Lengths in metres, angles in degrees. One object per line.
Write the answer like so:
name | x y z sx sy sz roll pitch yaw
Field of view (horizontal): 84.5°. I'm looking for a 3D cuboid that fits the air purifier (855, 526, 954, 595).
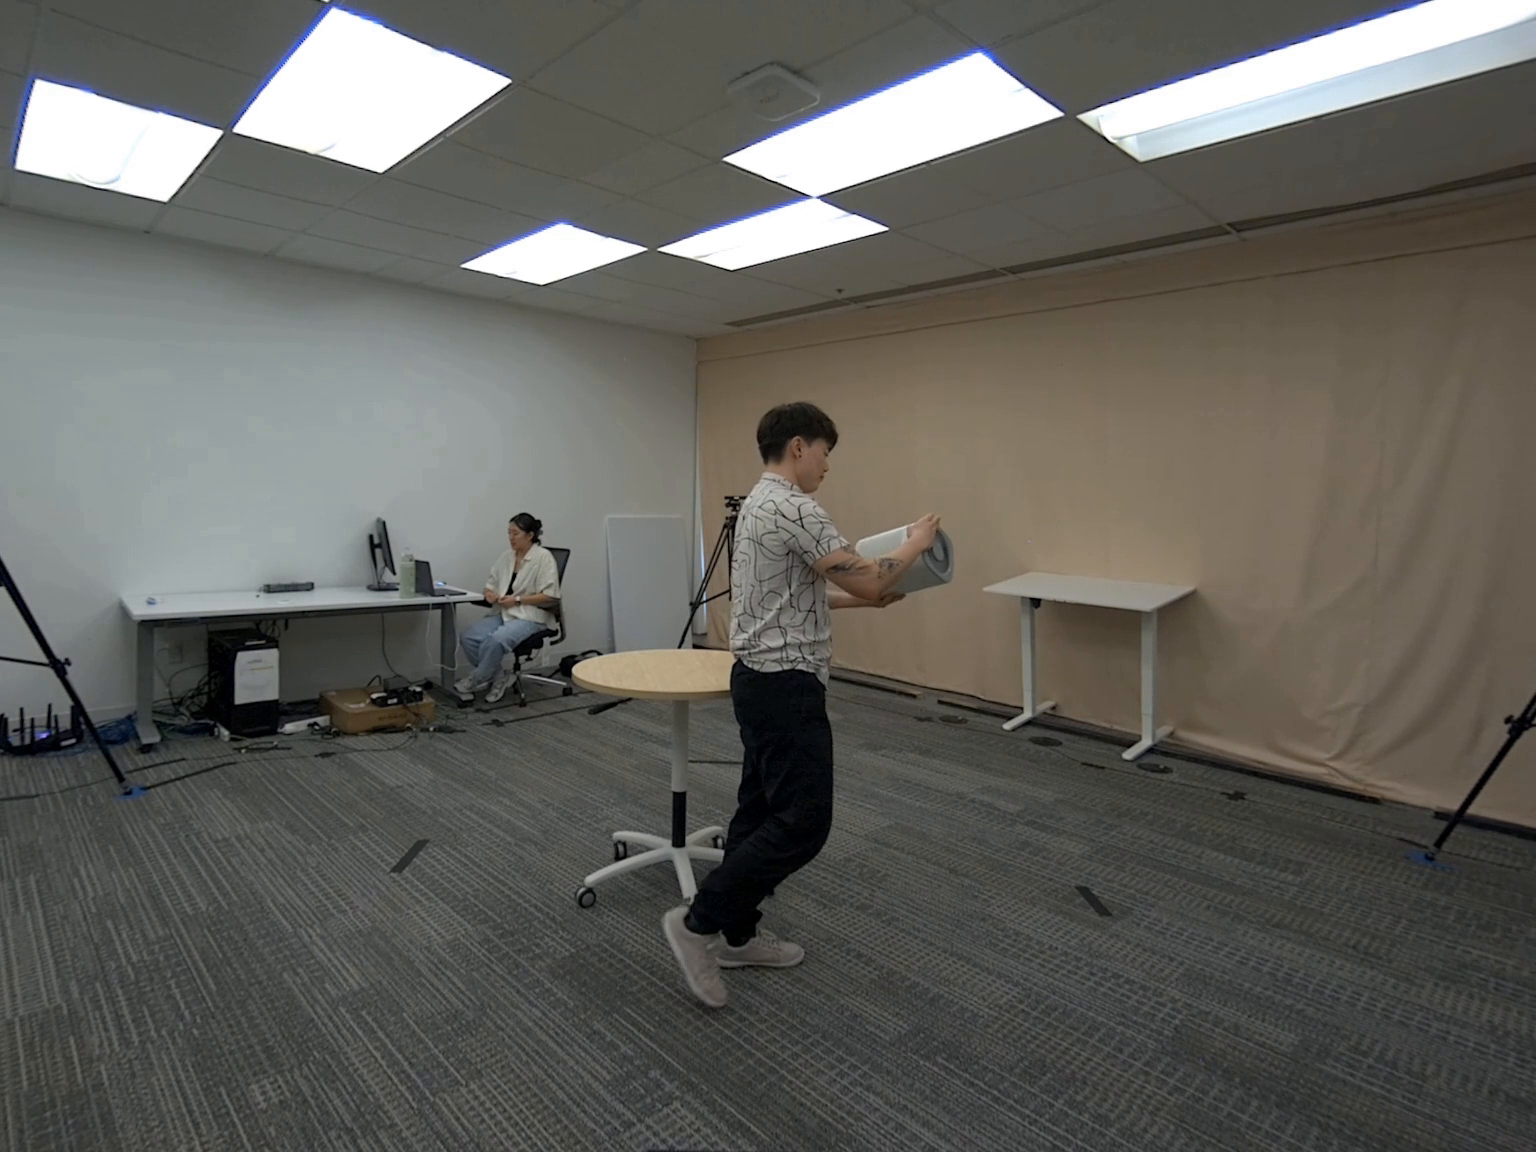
air purifier | 0.400 -0.042 2.569 0.269 0.174 0.166 -17 -41 38
